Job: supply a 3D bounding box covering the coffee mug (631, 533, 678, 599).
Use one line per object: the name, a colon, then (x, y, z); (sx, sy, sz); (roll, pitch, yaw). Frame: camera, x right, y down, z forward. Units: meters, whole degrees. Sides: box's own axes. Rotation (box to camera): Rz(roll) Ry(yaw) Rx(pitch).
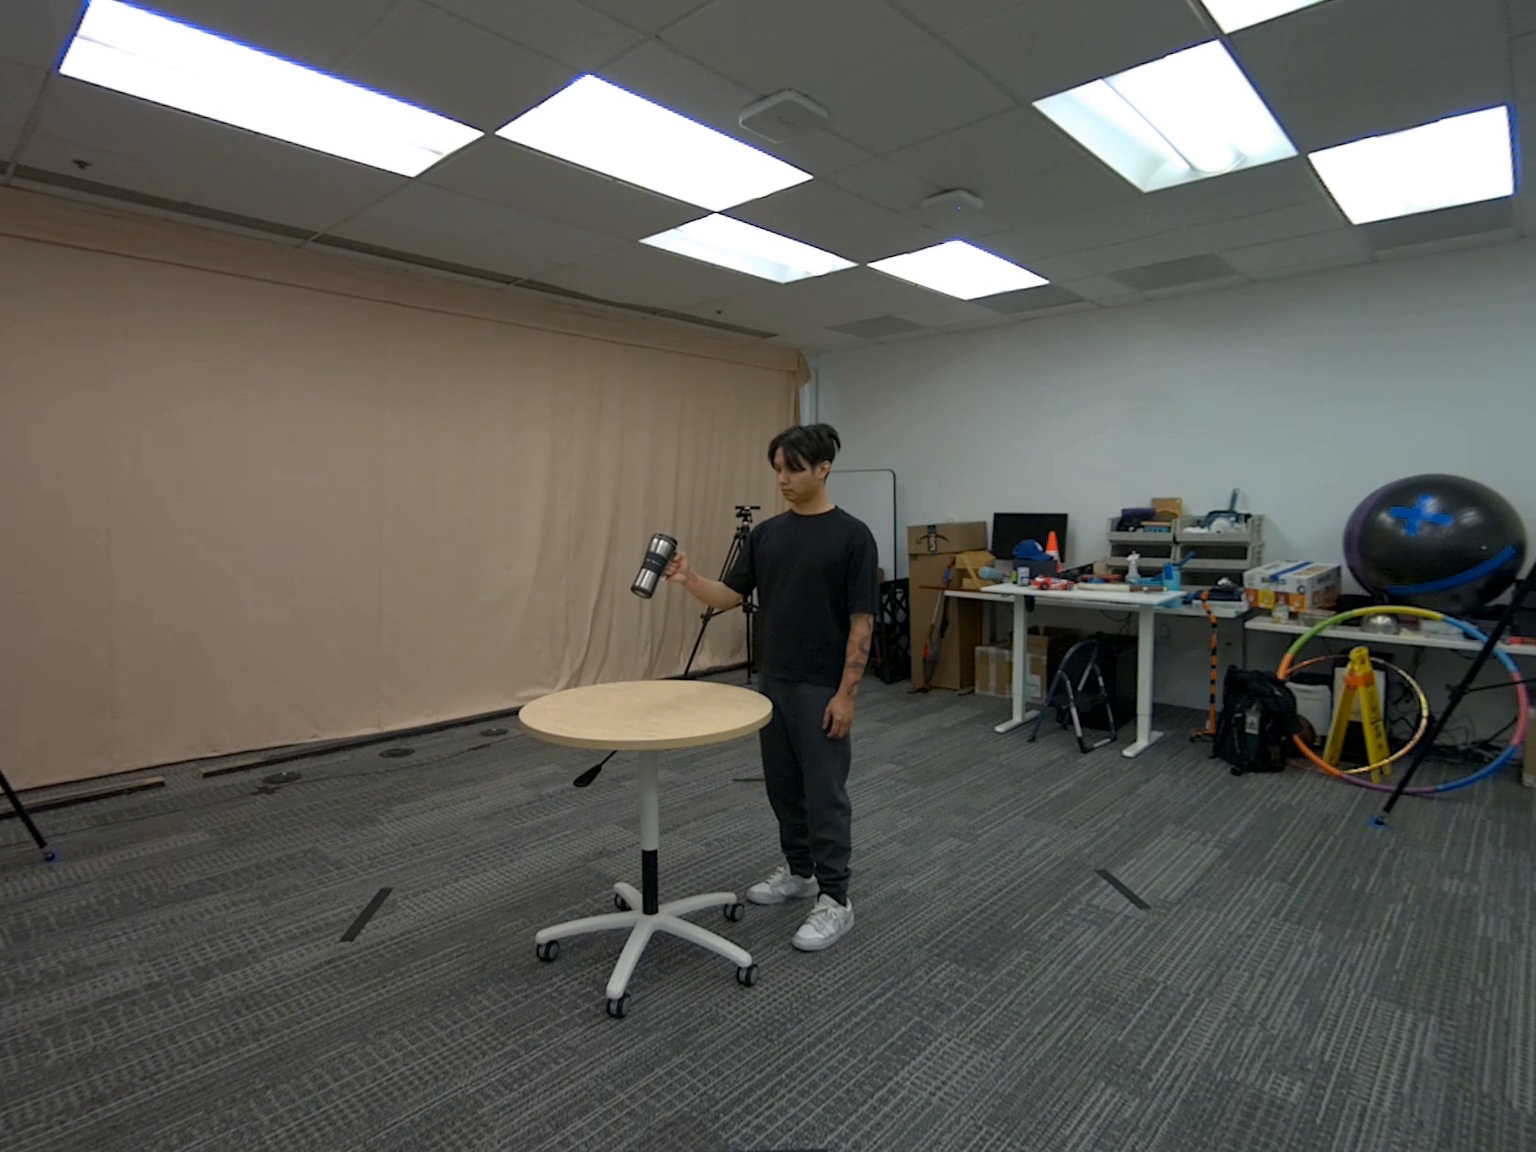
coffee mug: (-0.345, -0.023, 2.683); (0.120, 0.204, 0.089); (23, -19, -13)
